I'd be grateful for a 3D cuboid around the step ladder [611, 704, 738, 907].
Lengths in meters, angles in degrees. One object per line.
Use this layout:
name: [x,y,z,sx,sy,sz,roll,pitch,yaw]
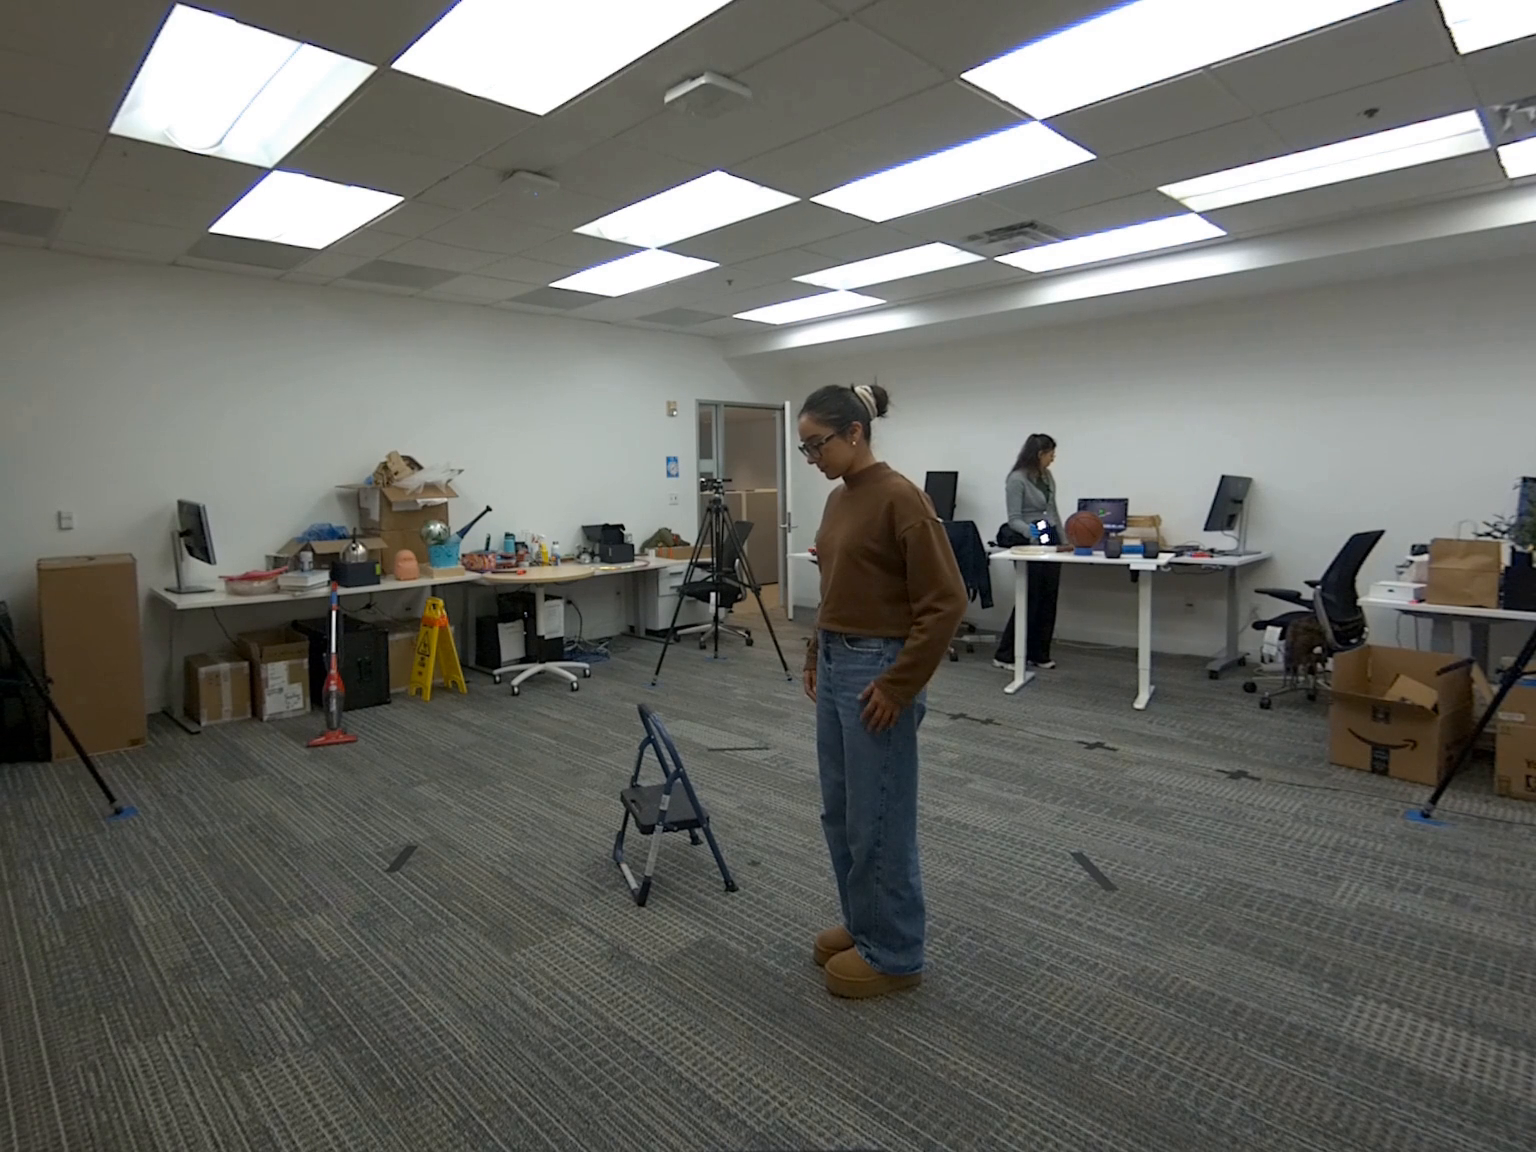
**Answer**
step ladder: [-0.345,0.756,3.030,0.343,0.604,0.440,-3,5,-22]
